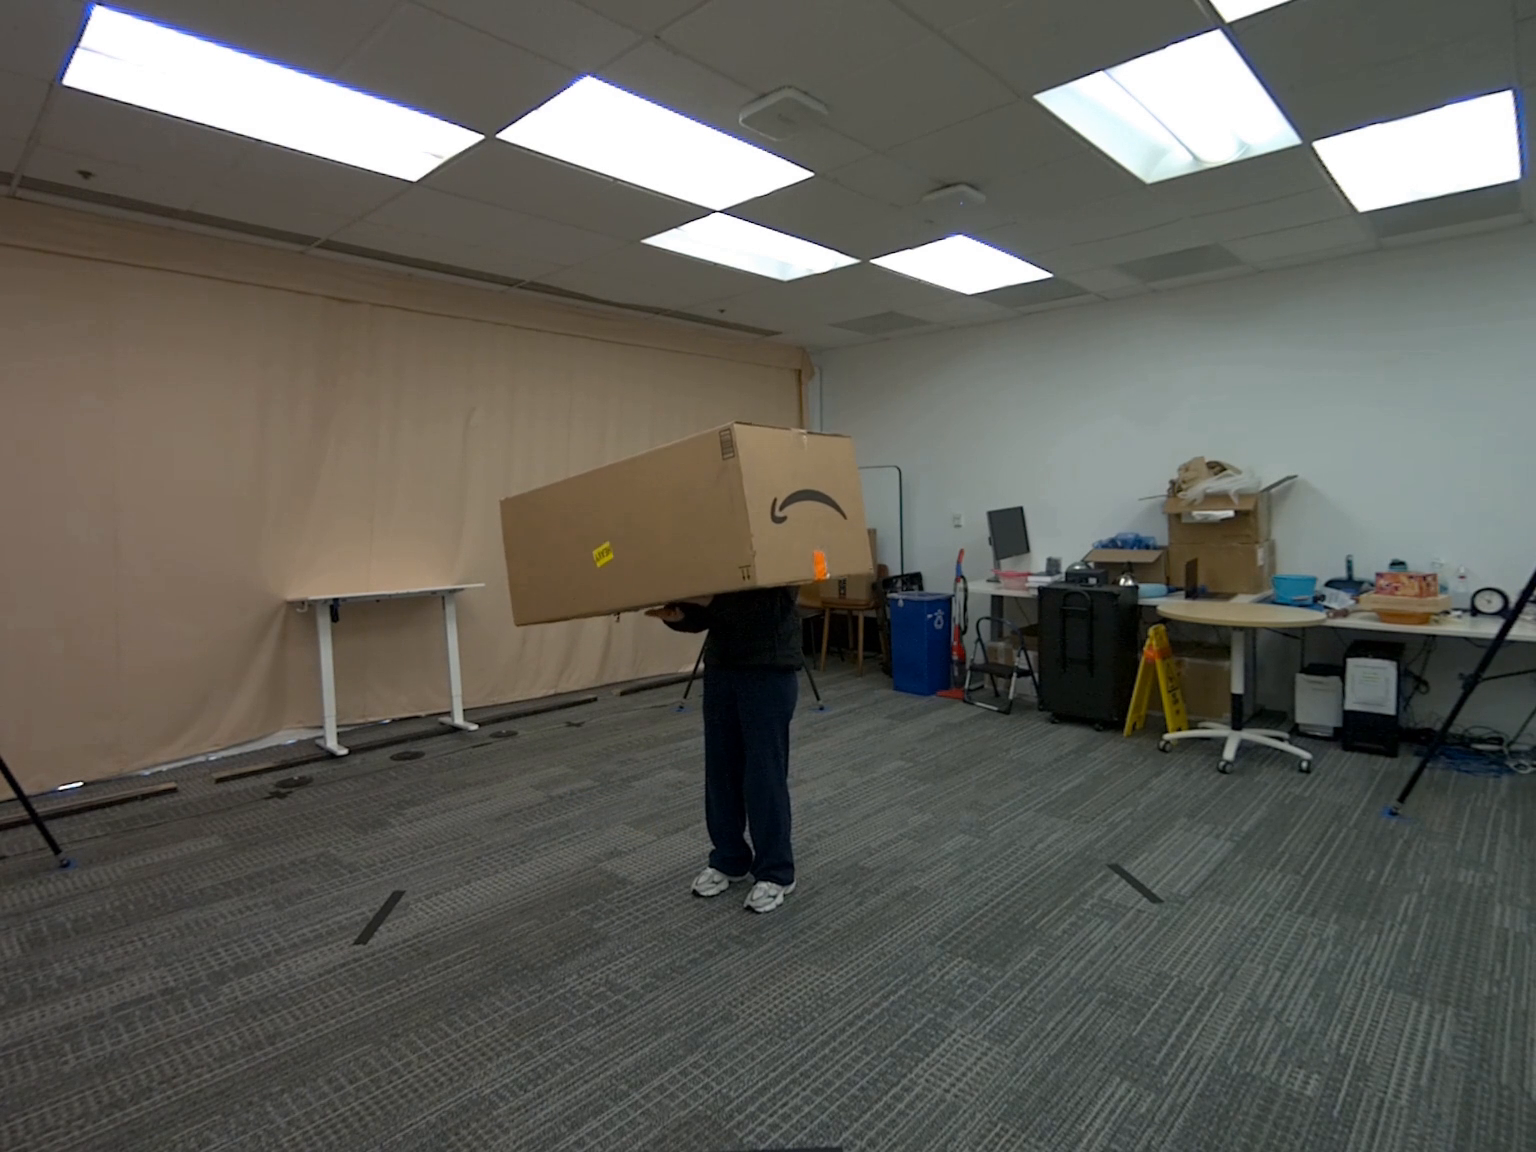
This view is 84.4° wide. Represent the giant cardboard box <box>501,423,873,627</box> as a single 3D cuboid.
[{"bbox_3d":[-0.274,-0.126,2.647,1.054,0.427,0.560,-10,-4,38],"label":"giant cardboard box"}]
